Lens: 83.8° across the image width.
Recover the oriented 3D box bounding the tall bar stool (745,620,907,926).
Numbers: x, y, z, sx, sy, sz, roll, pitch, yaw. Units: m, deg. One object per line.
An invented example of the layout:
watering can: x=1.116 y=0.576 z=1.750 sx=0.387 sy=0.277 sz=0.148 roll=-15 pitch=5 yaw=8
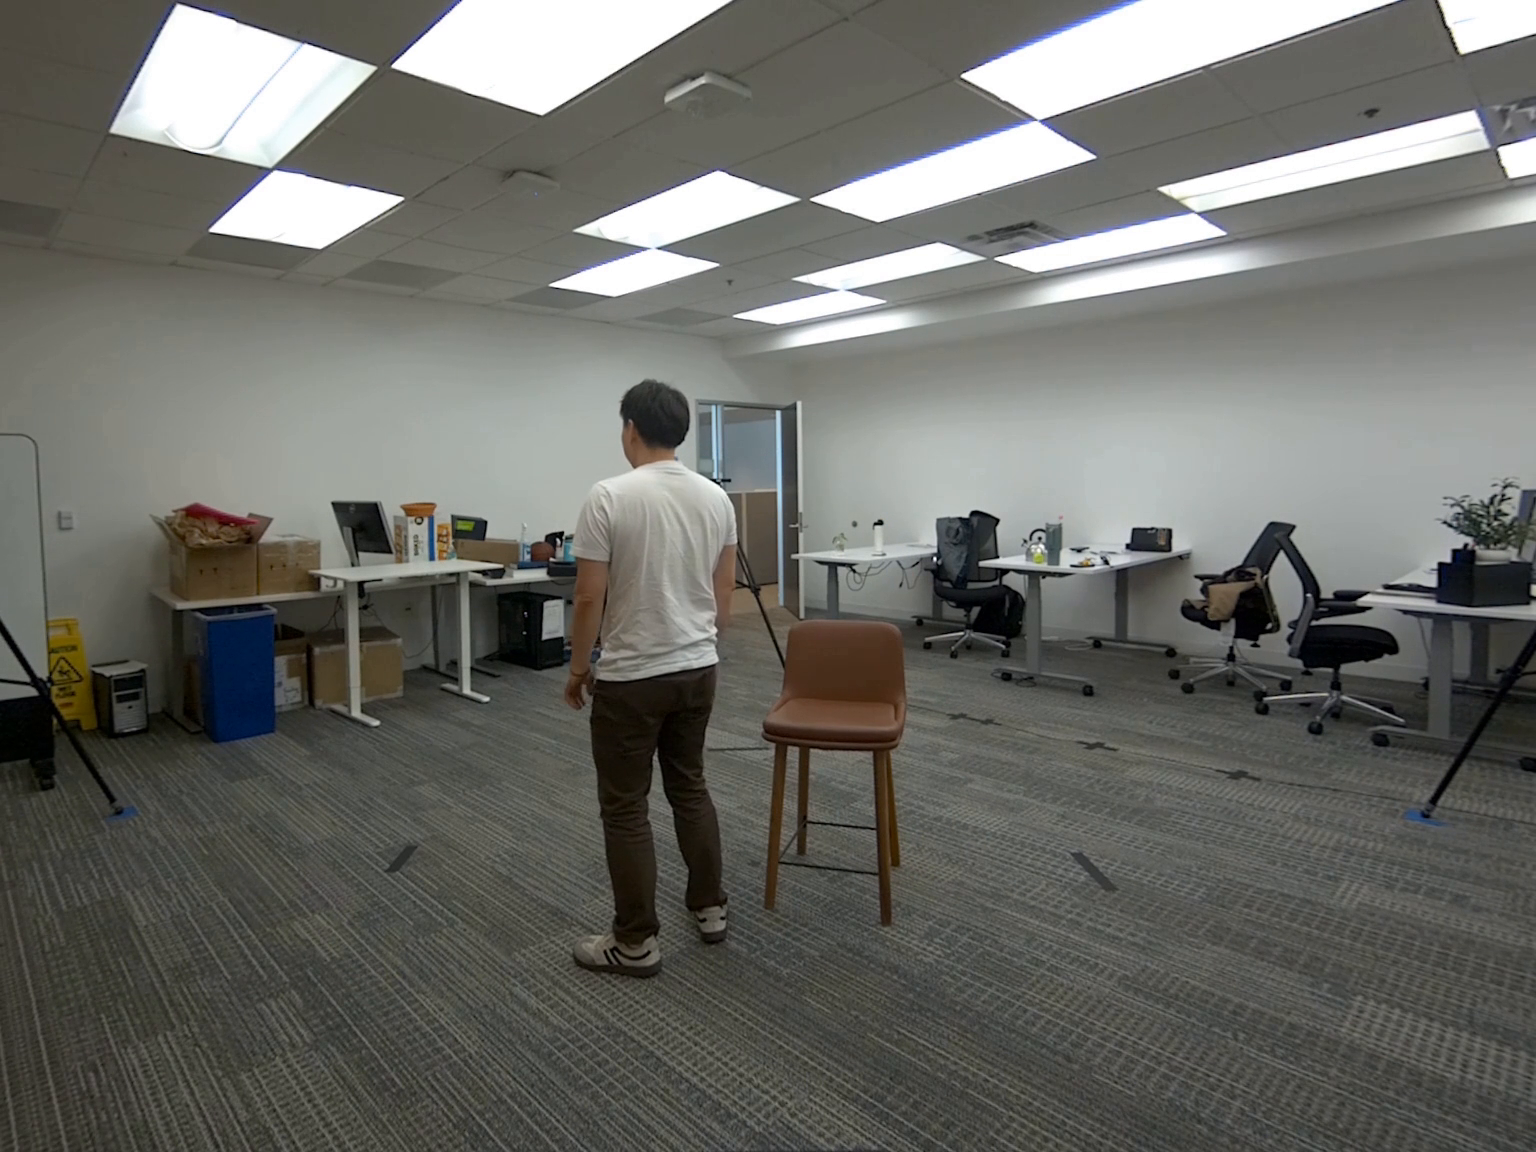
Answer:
tall bar stool: x=0.240 y=0.629 z=2.907 sx=0.464 sy=0.887 sz=0.461 roll=1 pitch=3 yaw=17
